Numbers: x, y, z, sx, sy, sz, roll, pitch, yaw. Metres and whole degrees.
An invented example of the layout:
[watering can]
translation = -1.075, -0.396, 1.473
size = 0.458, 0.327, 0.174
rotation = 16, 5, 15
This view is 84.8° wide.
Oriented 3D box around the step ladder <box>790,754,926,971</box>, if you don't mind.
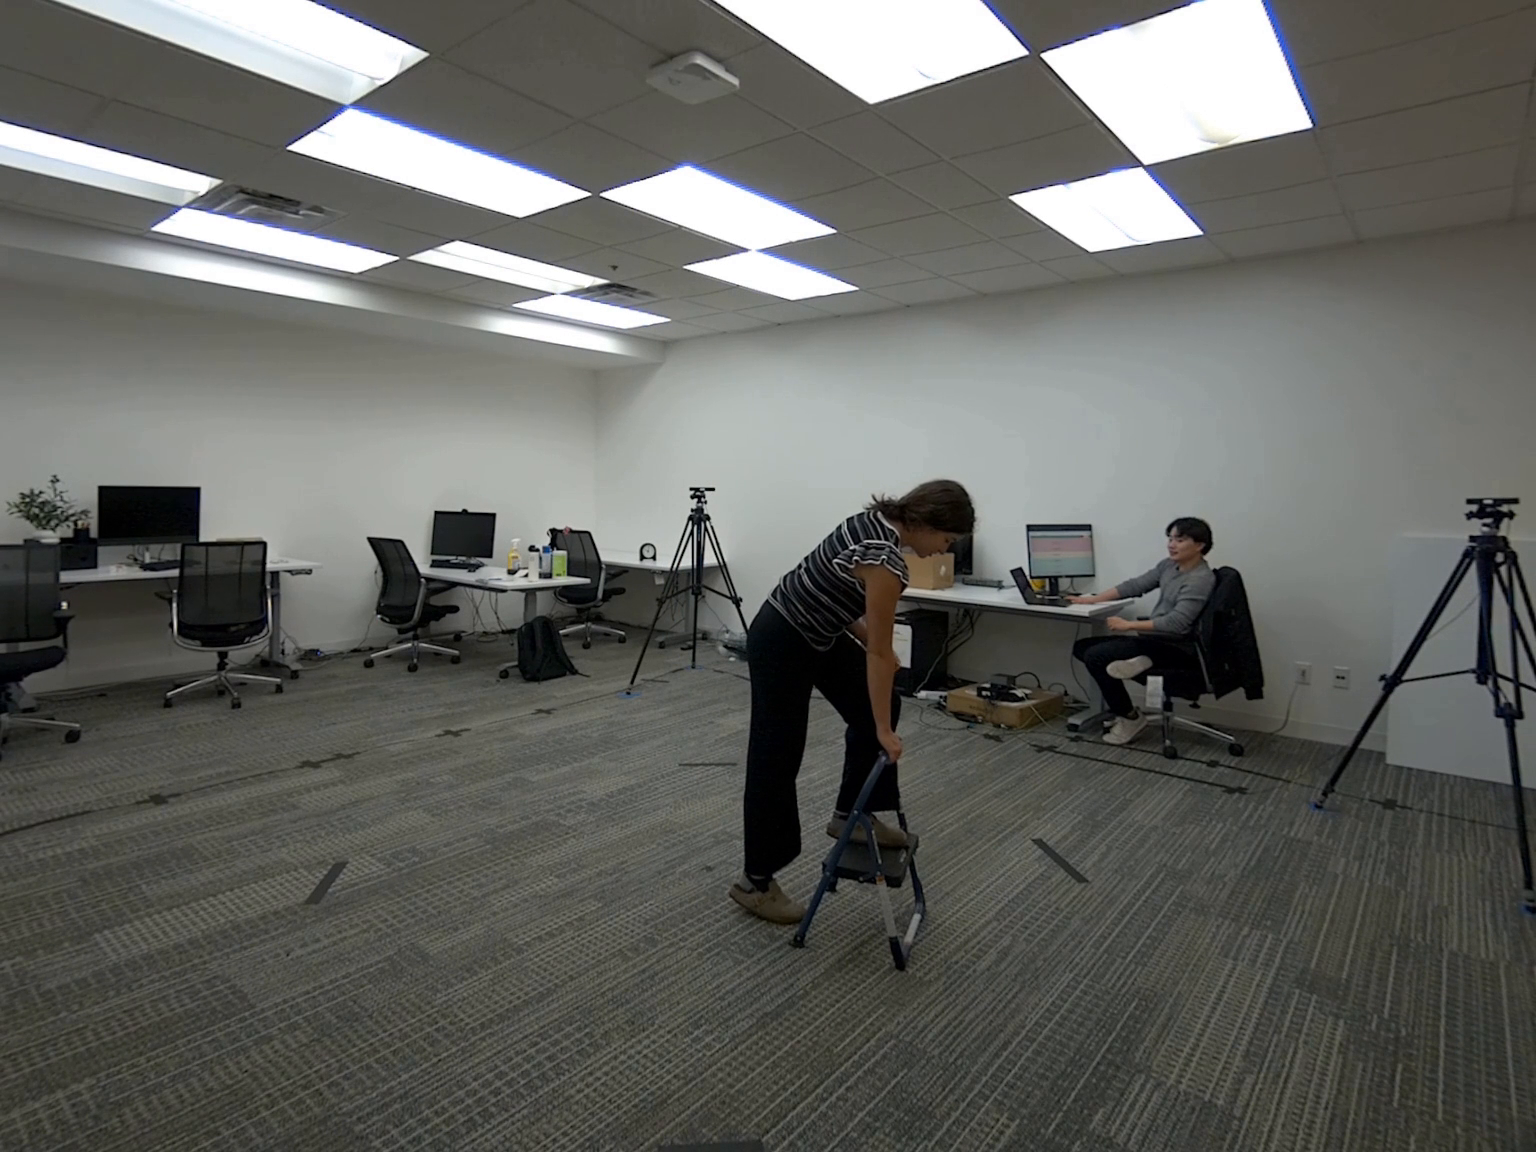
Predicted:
[step ladder]
translation = 0.300, 0.816, 2.705
size = 0.357, 0.604, 0.423
rotation = 3, 4, 20
